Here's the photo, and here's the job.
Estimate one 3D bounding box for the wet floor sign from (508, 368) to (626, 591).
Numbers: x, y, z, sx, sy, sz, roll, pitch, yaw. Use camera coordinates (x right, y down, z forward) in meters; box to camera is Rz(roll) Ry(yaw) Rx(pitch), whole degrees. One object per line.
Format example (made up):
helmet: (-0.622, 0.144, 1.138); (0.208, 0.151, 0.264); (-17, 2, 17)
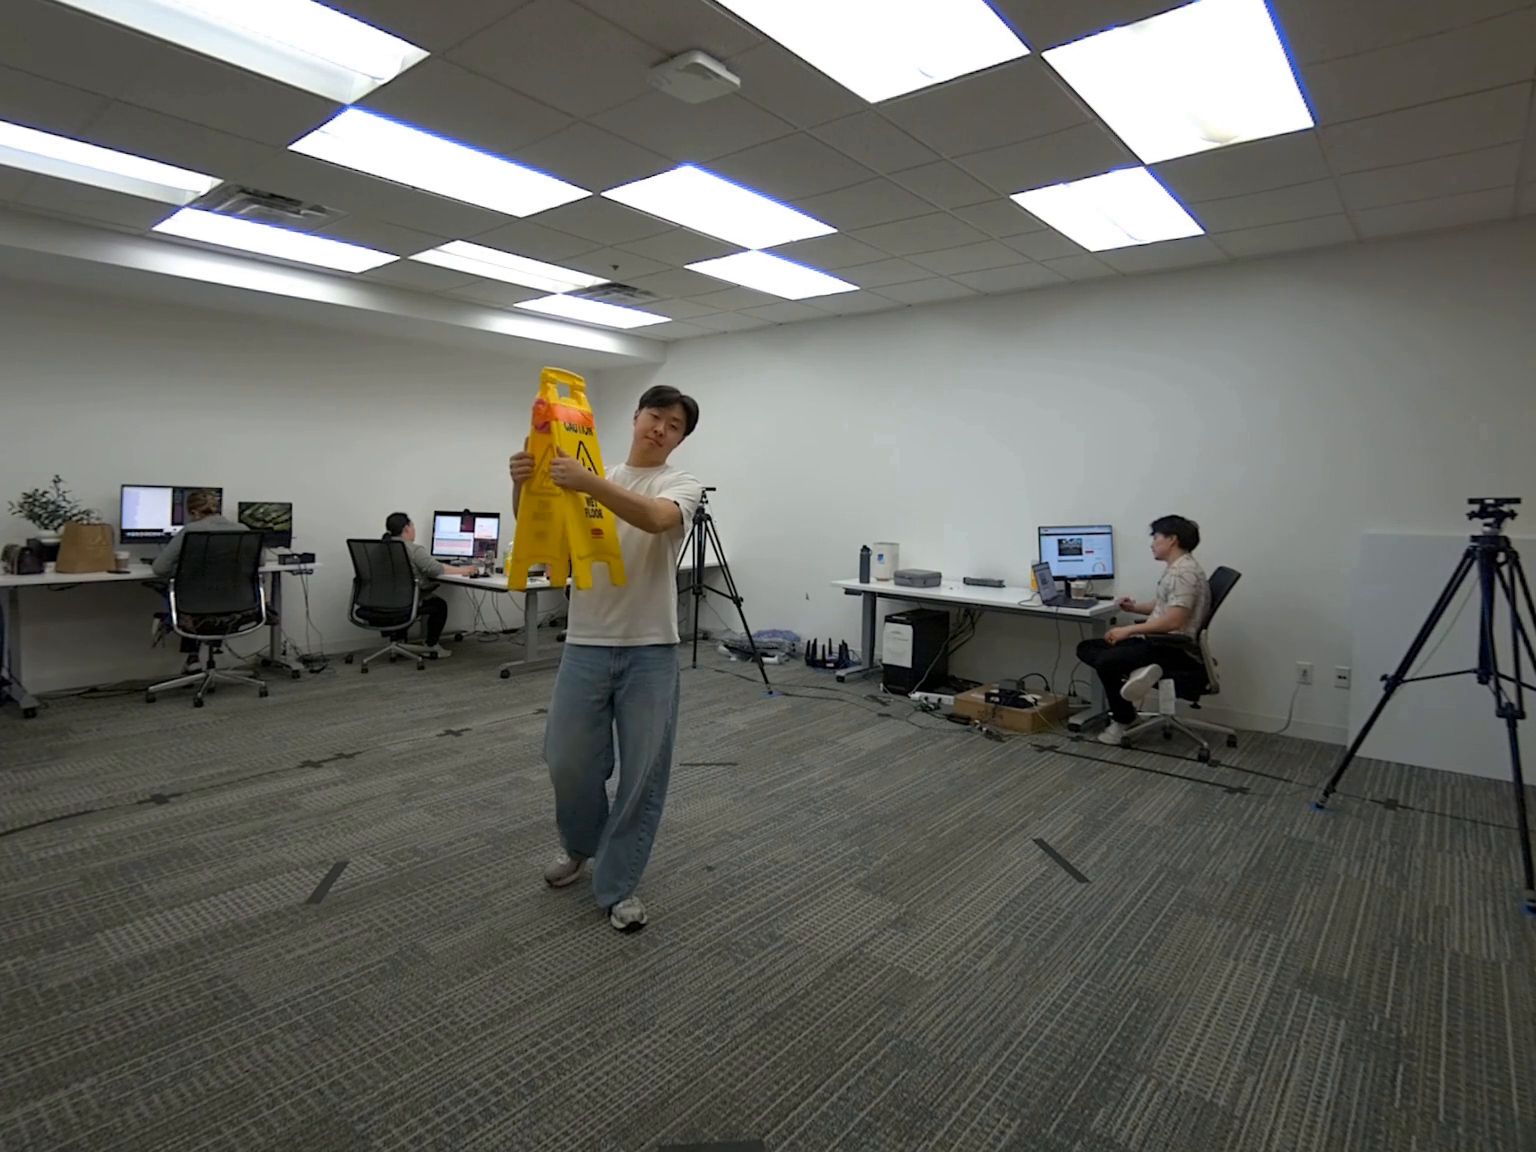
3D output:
wet floor sign: (-0.621, -0.291, 2.548); (0.296, 0.646, 0.276); (0, 0, 22)
